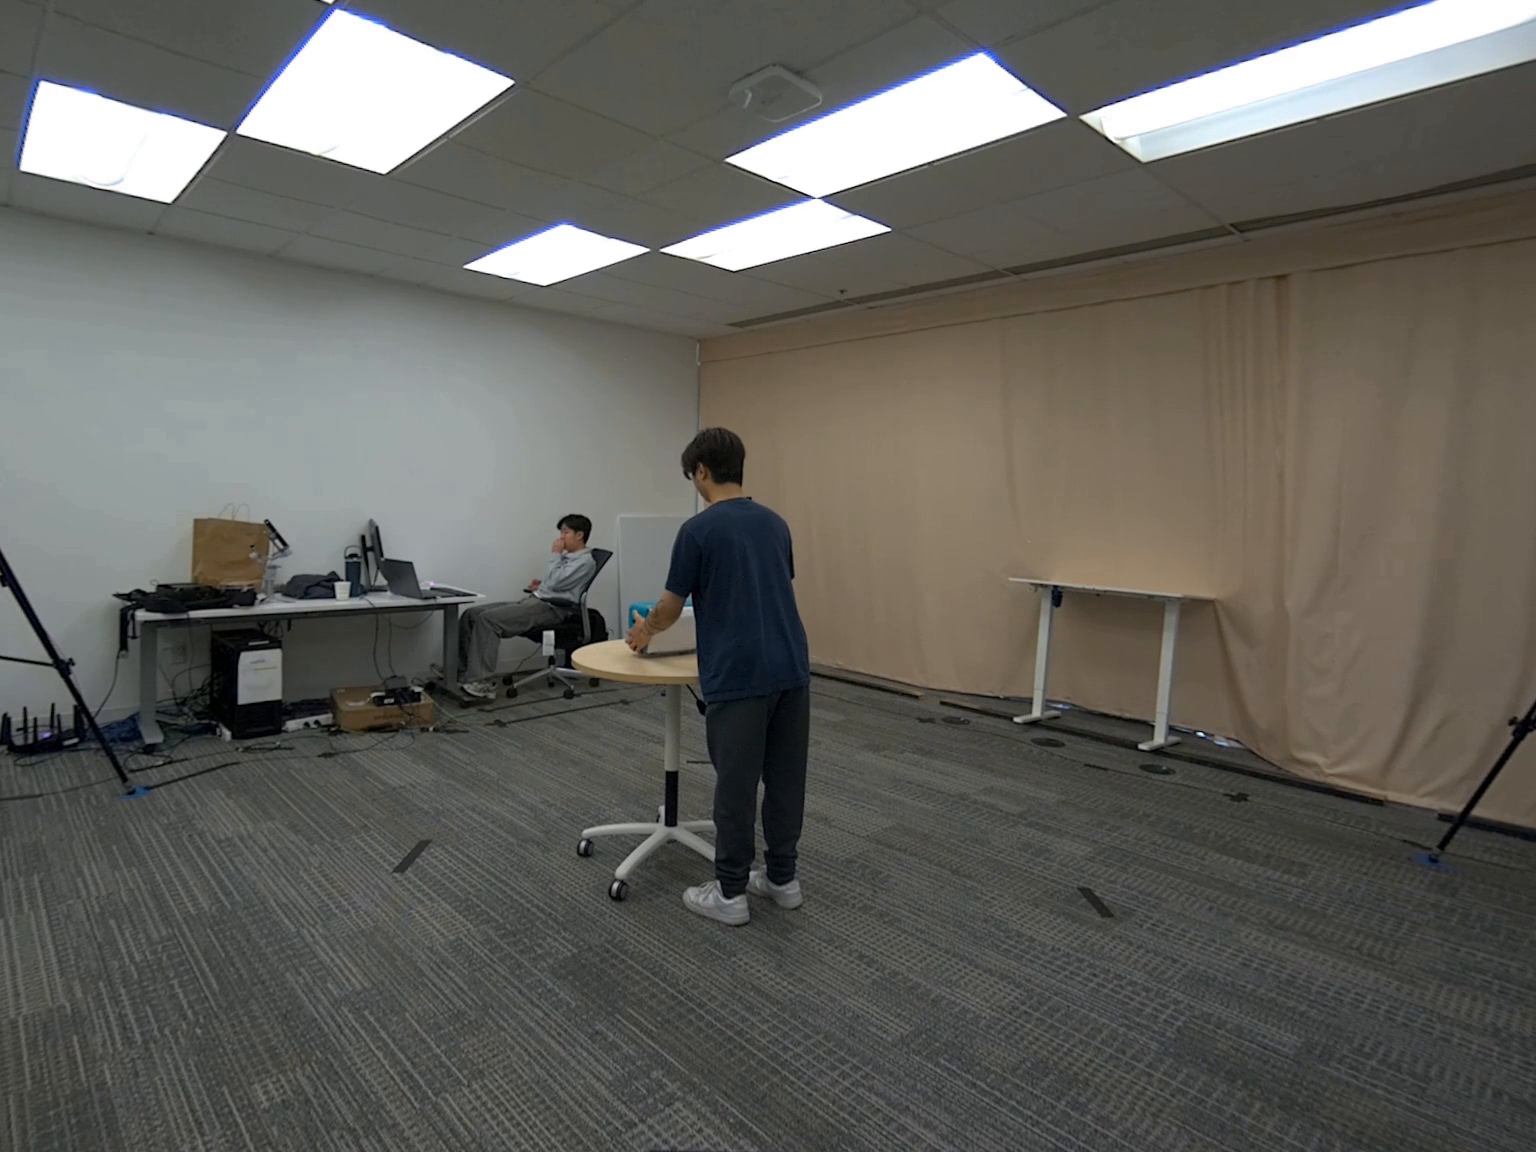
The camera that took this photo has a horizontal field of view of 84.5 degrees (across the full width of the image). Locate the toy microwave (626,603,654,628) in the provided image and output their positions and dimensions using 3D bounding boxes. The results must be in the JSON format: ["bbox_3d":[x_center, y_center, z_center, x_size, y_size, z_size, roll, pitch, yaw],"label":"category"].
[{"bbox_3d":[-0.388,0.199,3.187,0.280,0.184,0.156,-2,4,-37],"label":"toy microwave"}]
